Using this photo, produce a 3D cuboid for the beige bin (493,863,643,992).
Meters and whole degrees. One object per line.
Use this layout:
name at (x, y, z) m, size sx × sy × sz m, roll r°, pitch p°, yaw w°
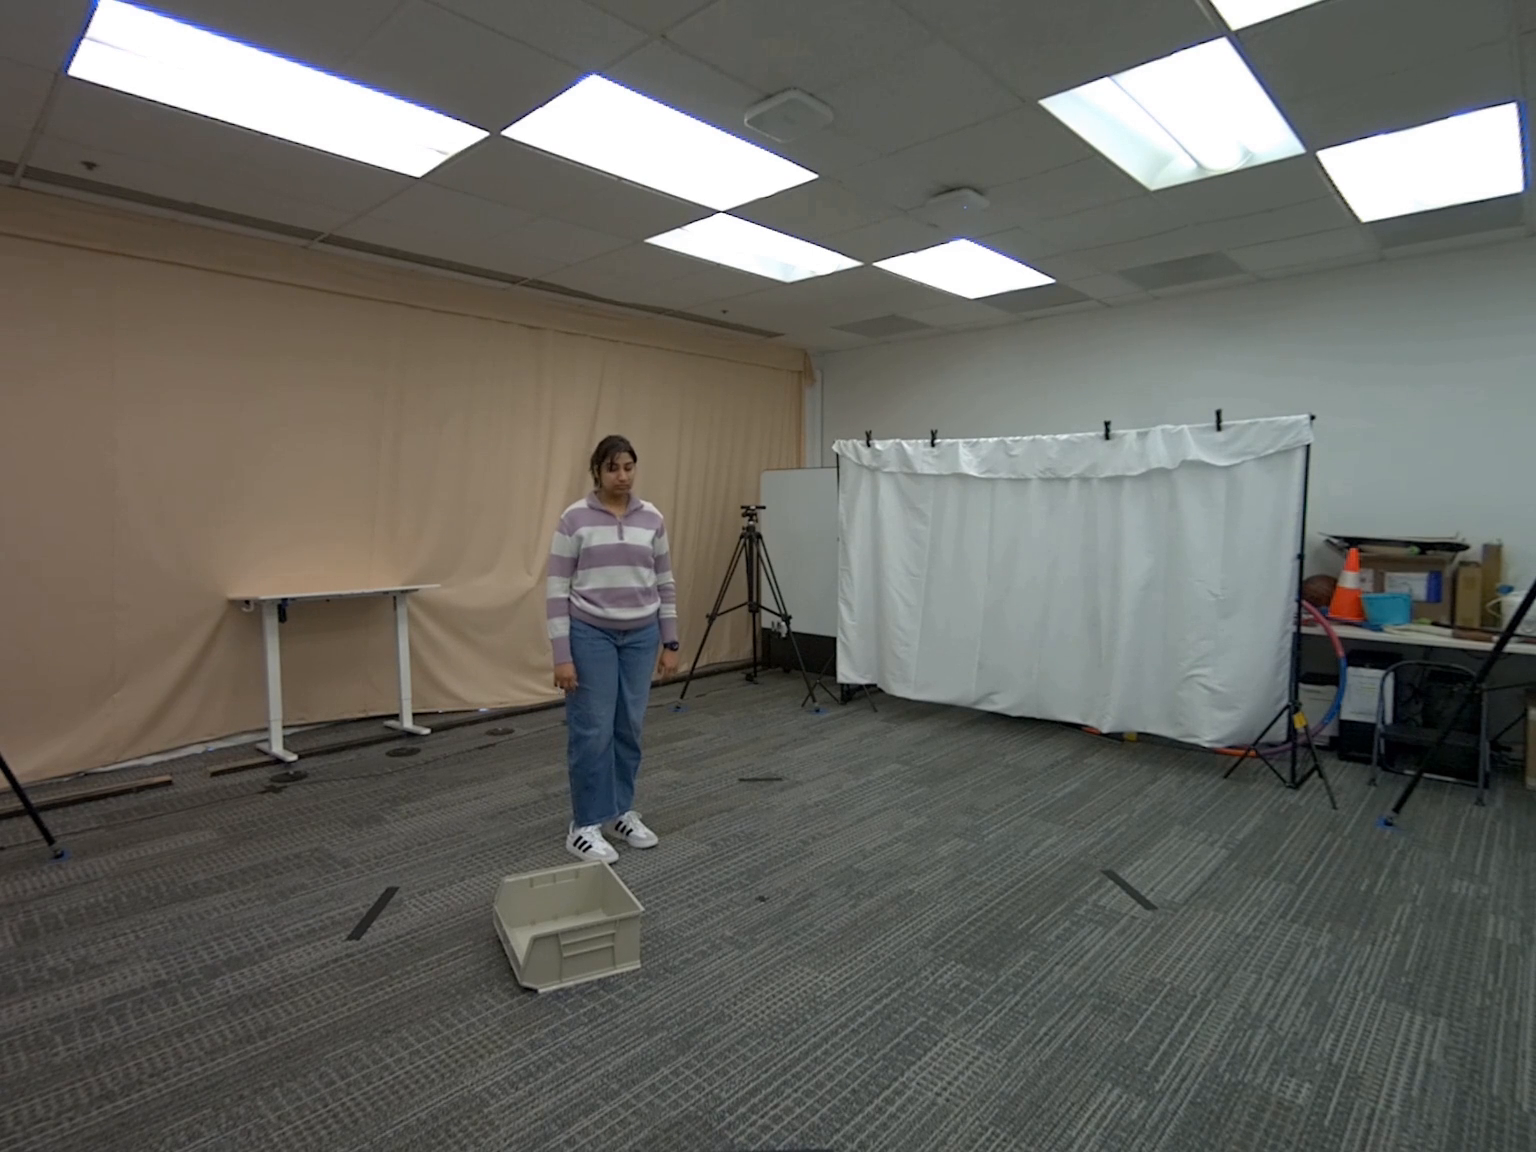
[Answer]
beige bin at (-0.635, 1.091, 2.640) m, size 0.368 × 0.188 × 0.434 m, roll -1°, pitch 4°, yaw -27°
